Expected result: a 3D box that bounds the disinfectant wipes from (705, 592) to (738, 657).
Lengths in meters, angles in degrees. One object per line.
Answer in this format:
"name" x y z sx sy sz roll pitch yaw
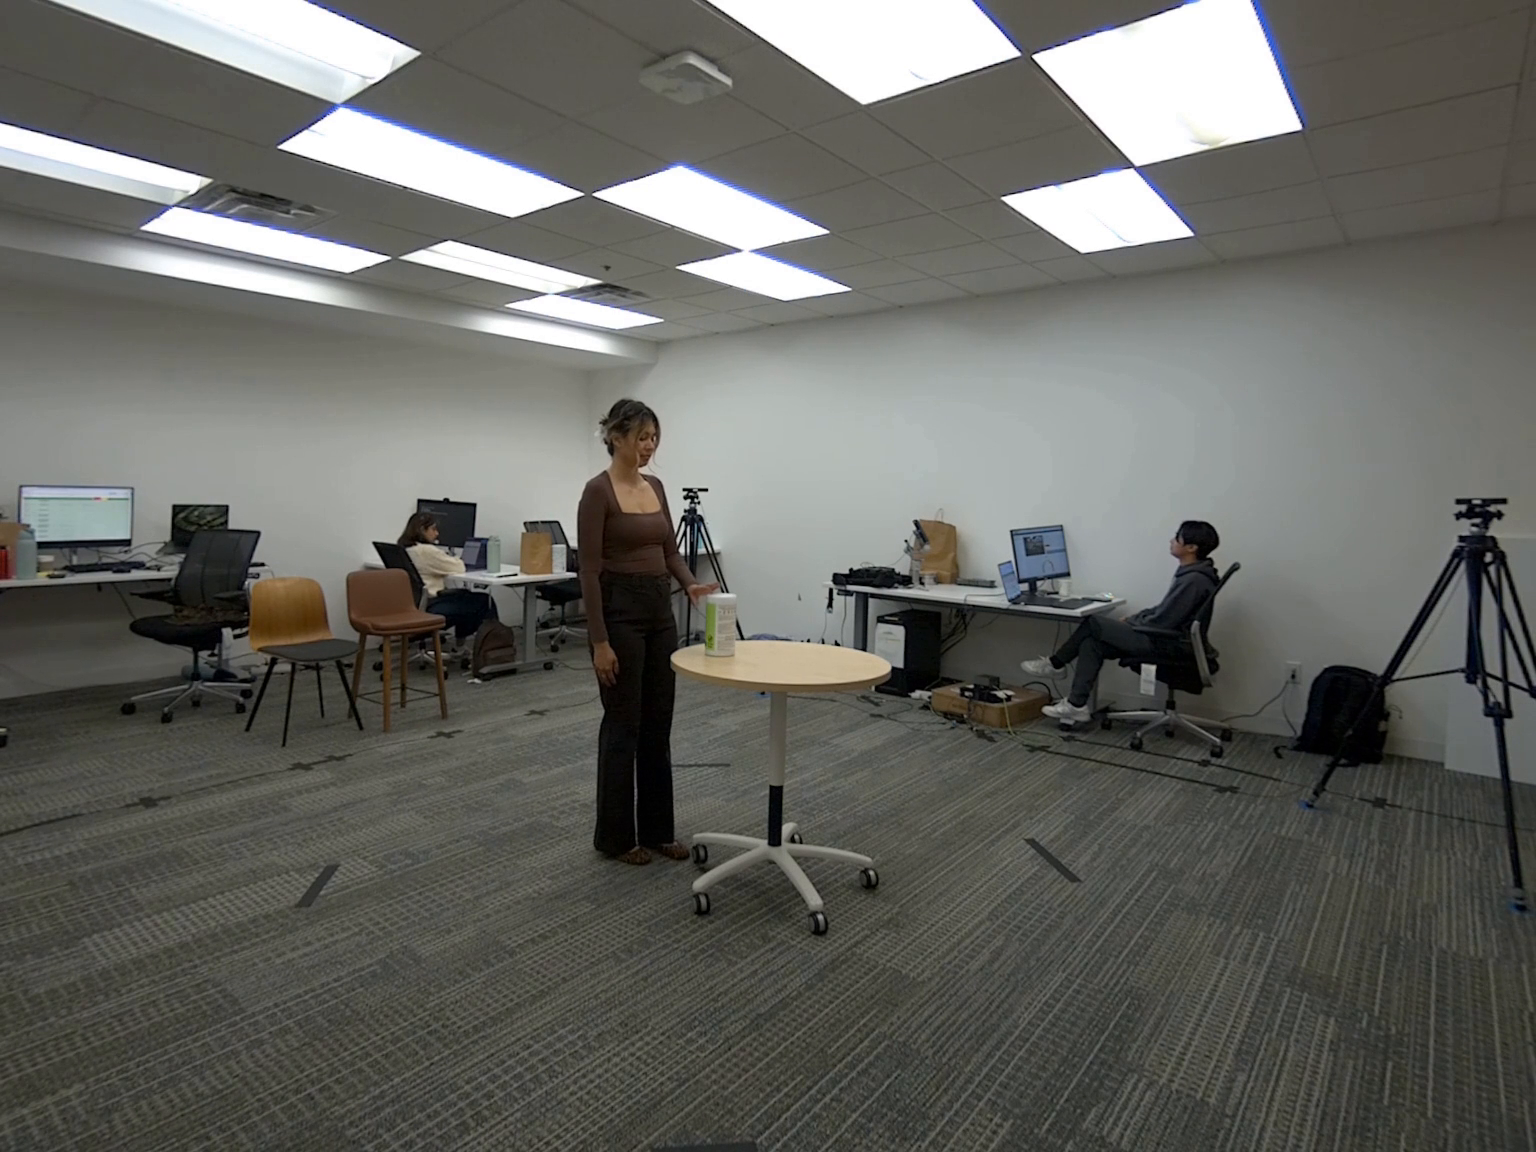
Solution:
"disinfectant wipes" -0.180 0.171 3.030 0.118 0.217 0.118 0 3 -2
